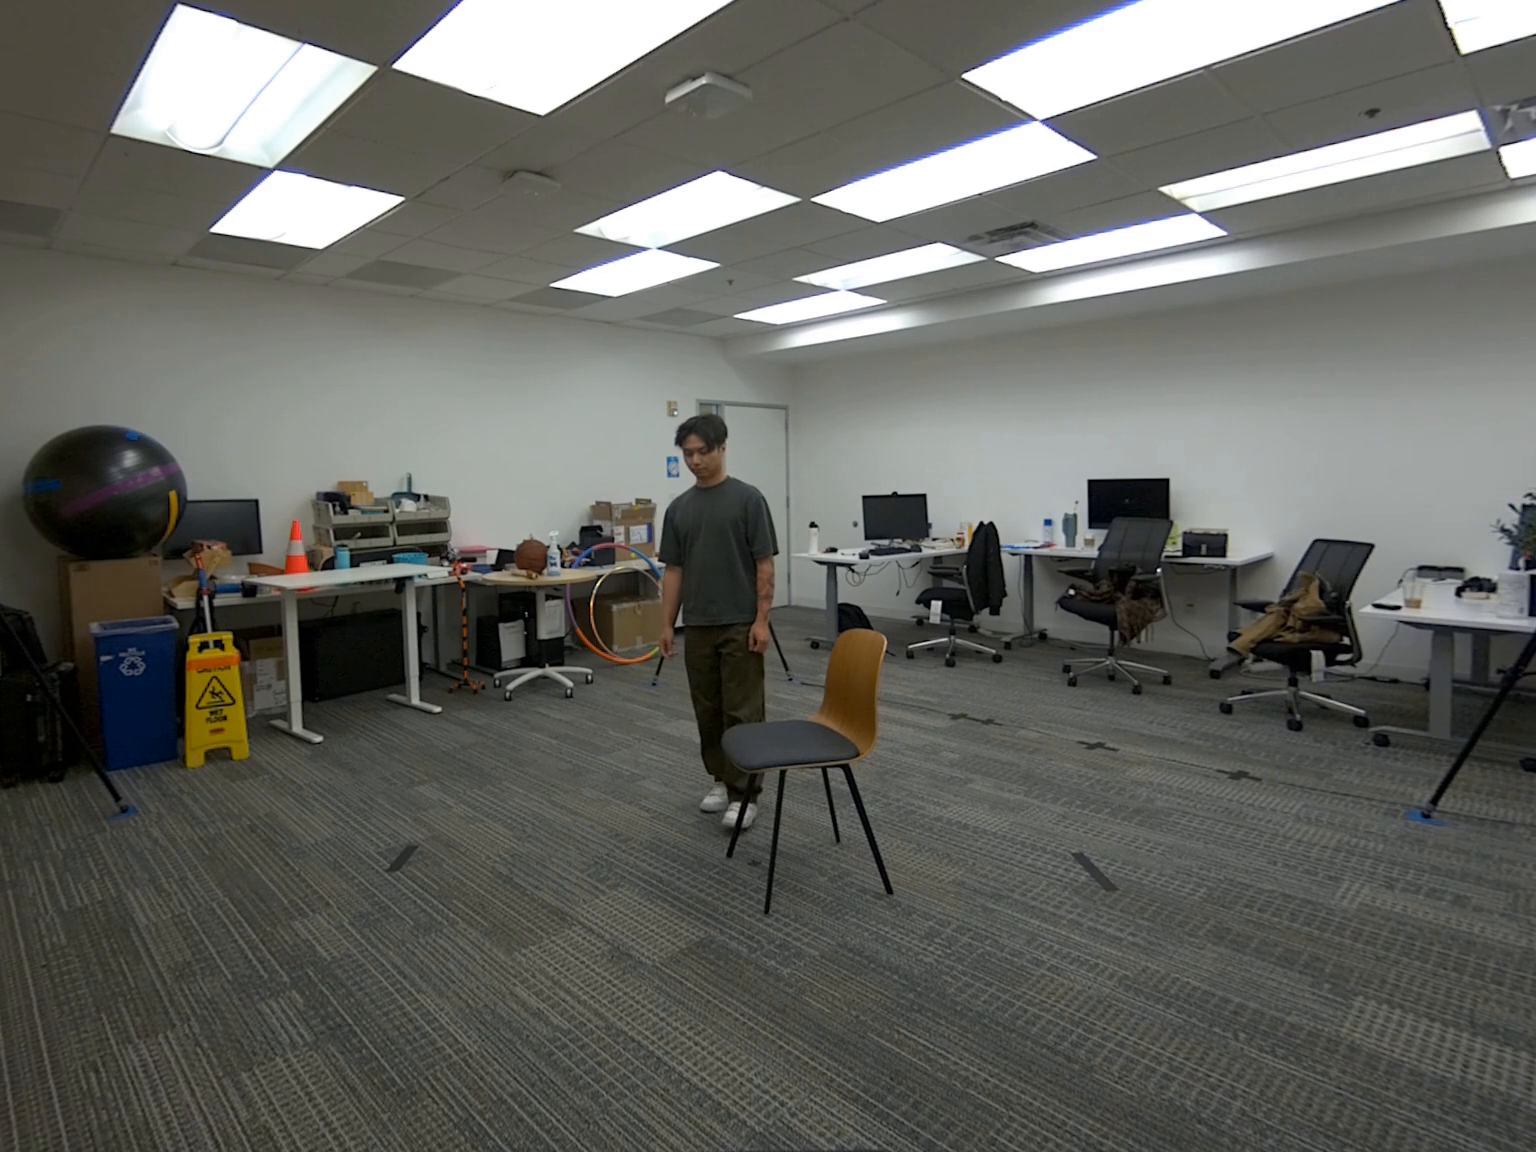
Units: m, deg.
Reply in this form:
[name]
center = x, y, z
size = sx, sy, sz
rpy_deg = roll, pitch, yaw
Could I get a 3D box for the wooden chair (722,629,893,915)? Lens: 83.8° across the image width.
[wooden chair]
center = 0.122, 0.627, 2.976
size = 0.514, 0.875, 0.487
rpy_deg = 2, 3, -18
